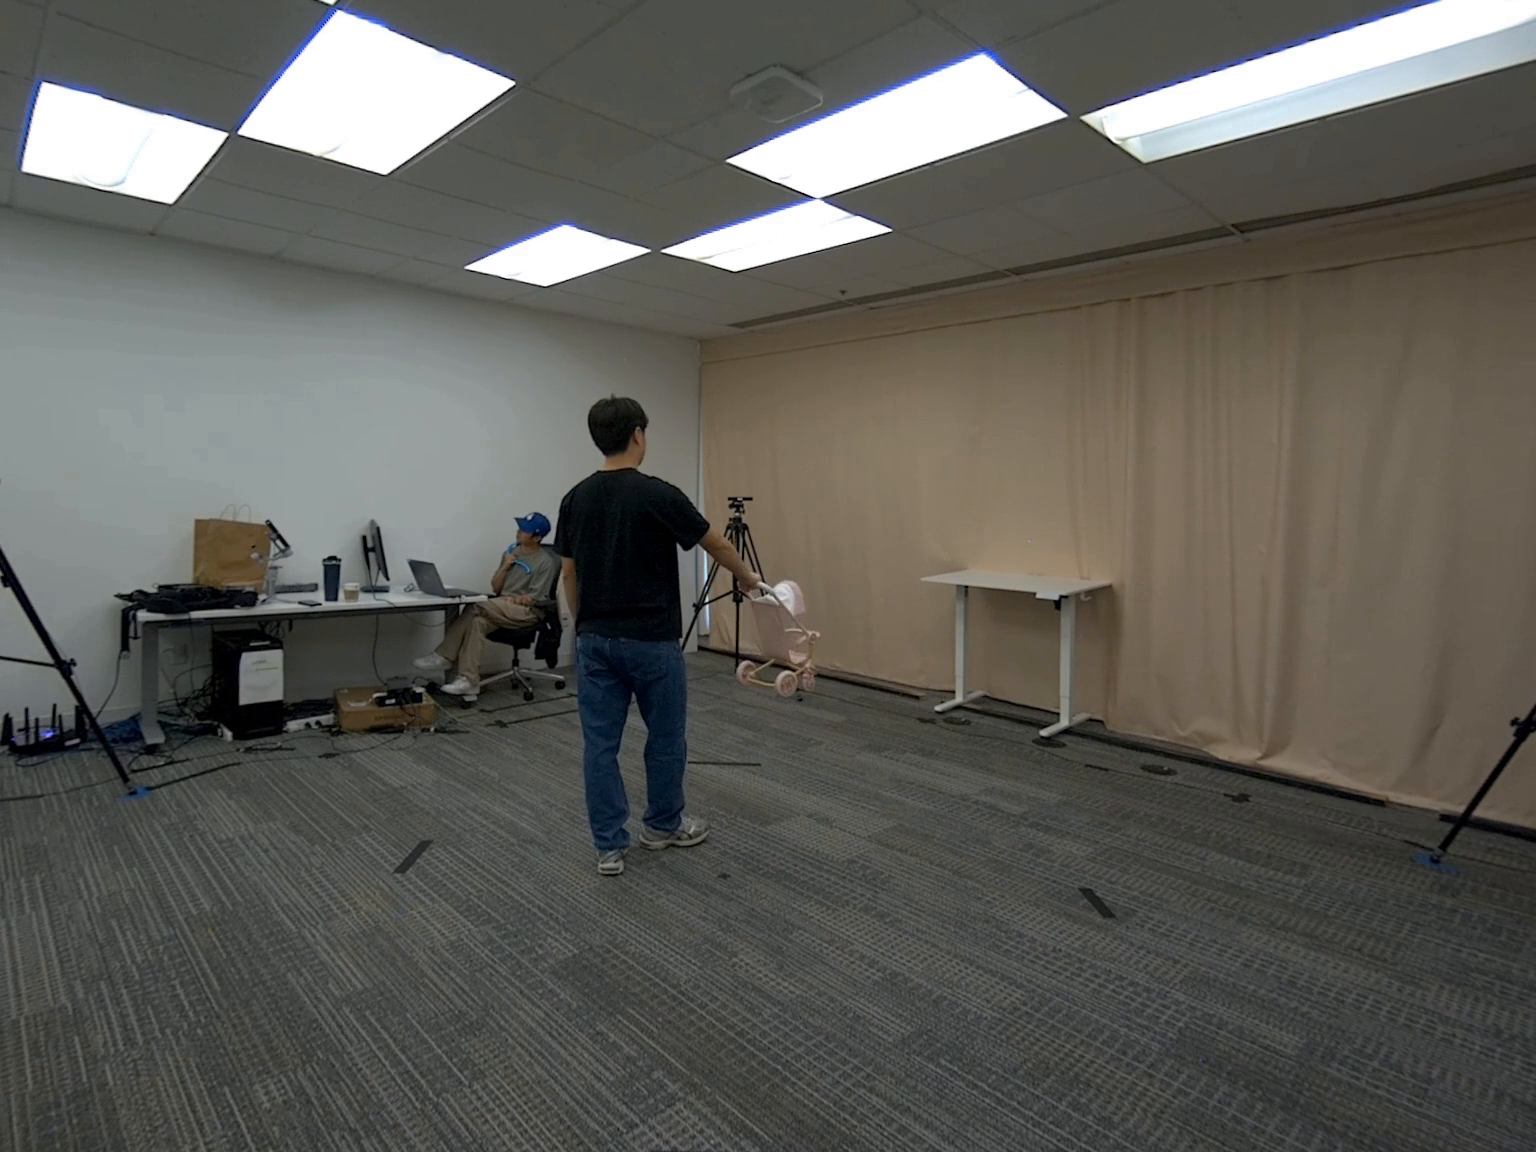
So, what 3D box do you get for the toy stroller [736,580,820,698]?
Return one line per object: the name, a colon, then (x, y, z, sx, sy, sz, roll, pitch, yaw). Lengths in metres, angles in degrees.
toy stroller: (0.055, 0.261, 3.568, 0.335, 0.532, 0.288, -9, 9, -36)
